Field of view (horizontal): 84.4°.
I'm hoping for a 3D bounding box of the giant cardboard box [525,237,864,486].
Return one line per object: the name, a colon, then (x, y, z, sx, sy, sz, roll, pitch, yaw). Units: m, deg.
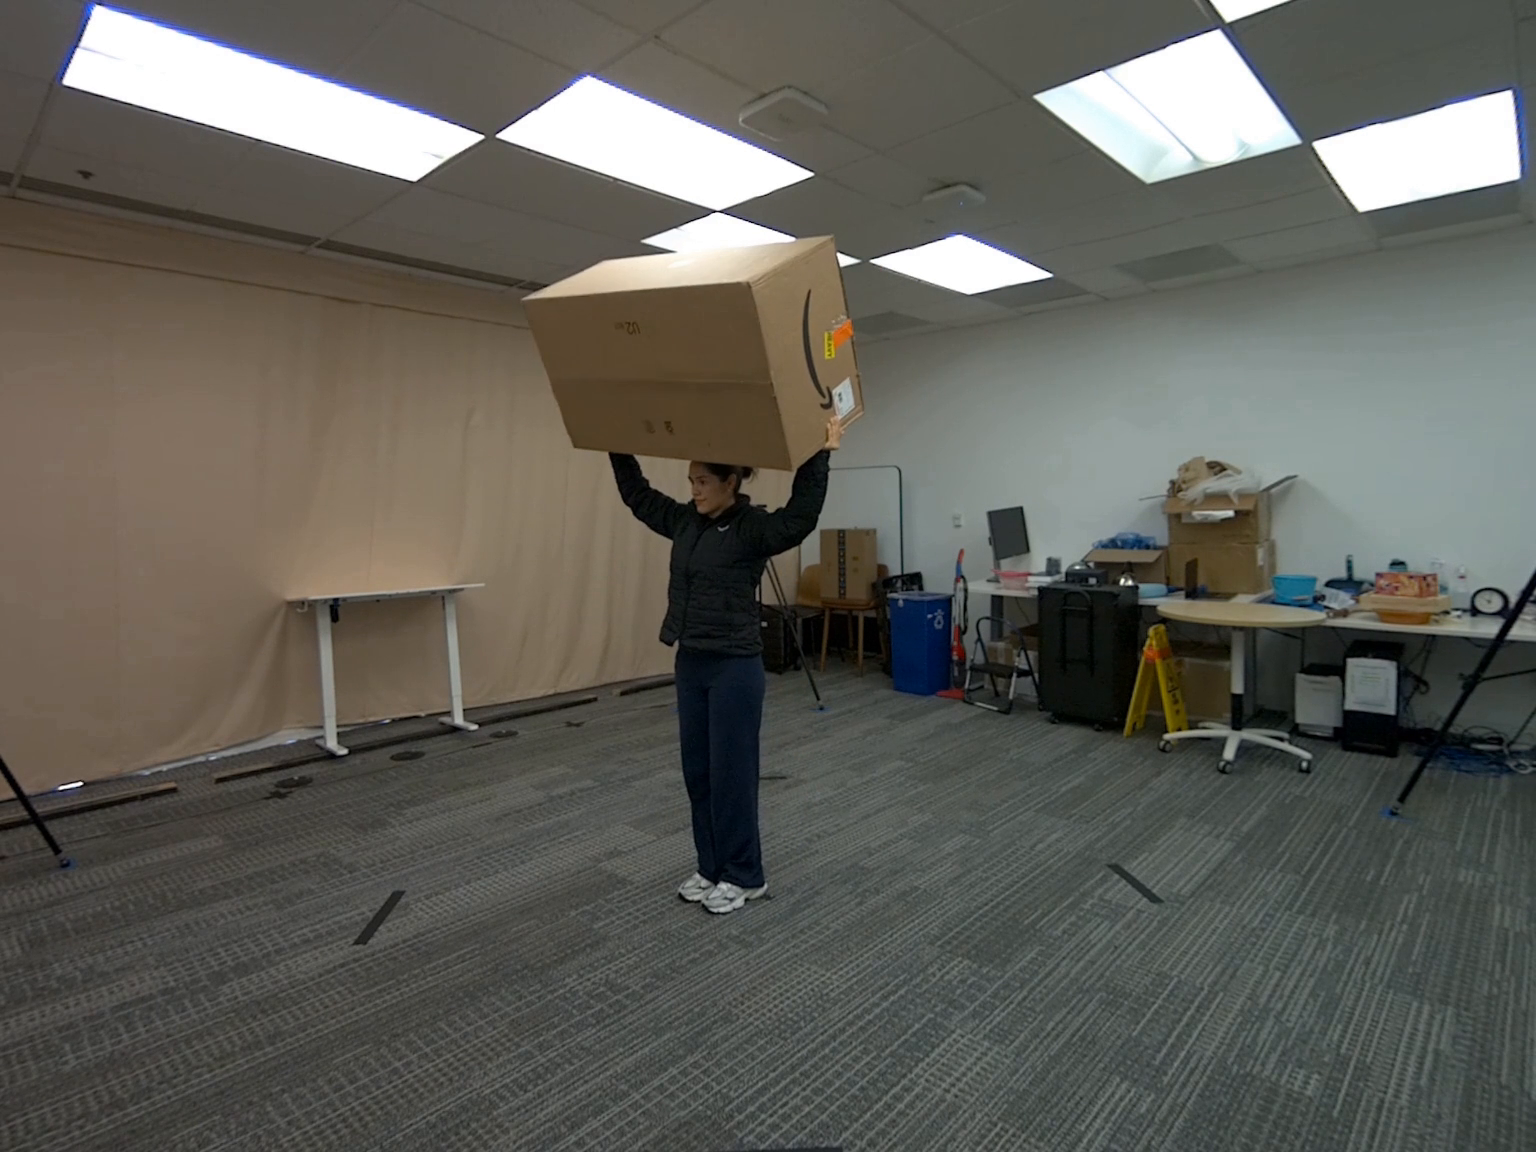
giant cardboard box: (-0.250, -0.732, 2.808, 1.063, 0.571, 0.441, 11, 38, 38)
